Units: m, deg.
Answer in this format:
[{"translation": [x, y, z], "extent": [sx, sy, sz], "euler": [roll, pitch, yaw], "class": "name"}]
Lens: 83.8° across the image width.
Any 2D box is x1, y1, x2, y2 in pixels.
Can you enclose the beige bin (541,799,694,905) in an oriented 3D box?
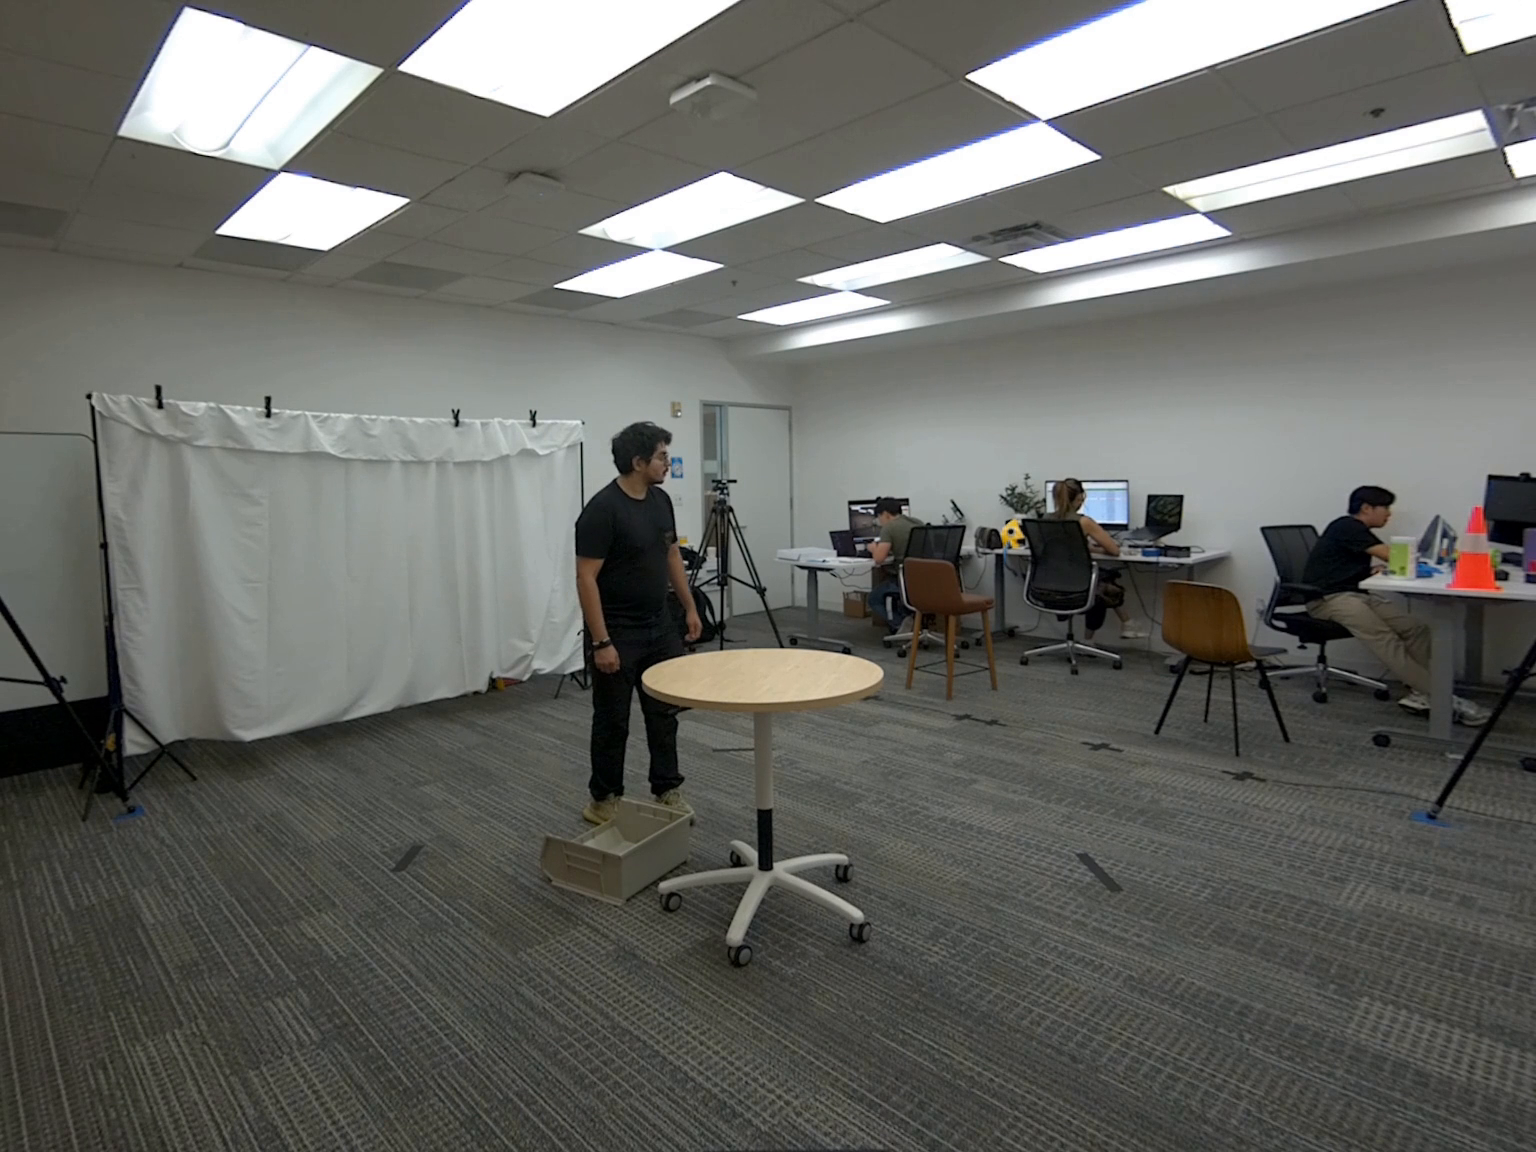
[{"translation": [-0.535, 0.973, 3.070], "extent": [0.388, 0.188, 0.413], "euler": [4, 7, 31], "class": "beige bin"}]
